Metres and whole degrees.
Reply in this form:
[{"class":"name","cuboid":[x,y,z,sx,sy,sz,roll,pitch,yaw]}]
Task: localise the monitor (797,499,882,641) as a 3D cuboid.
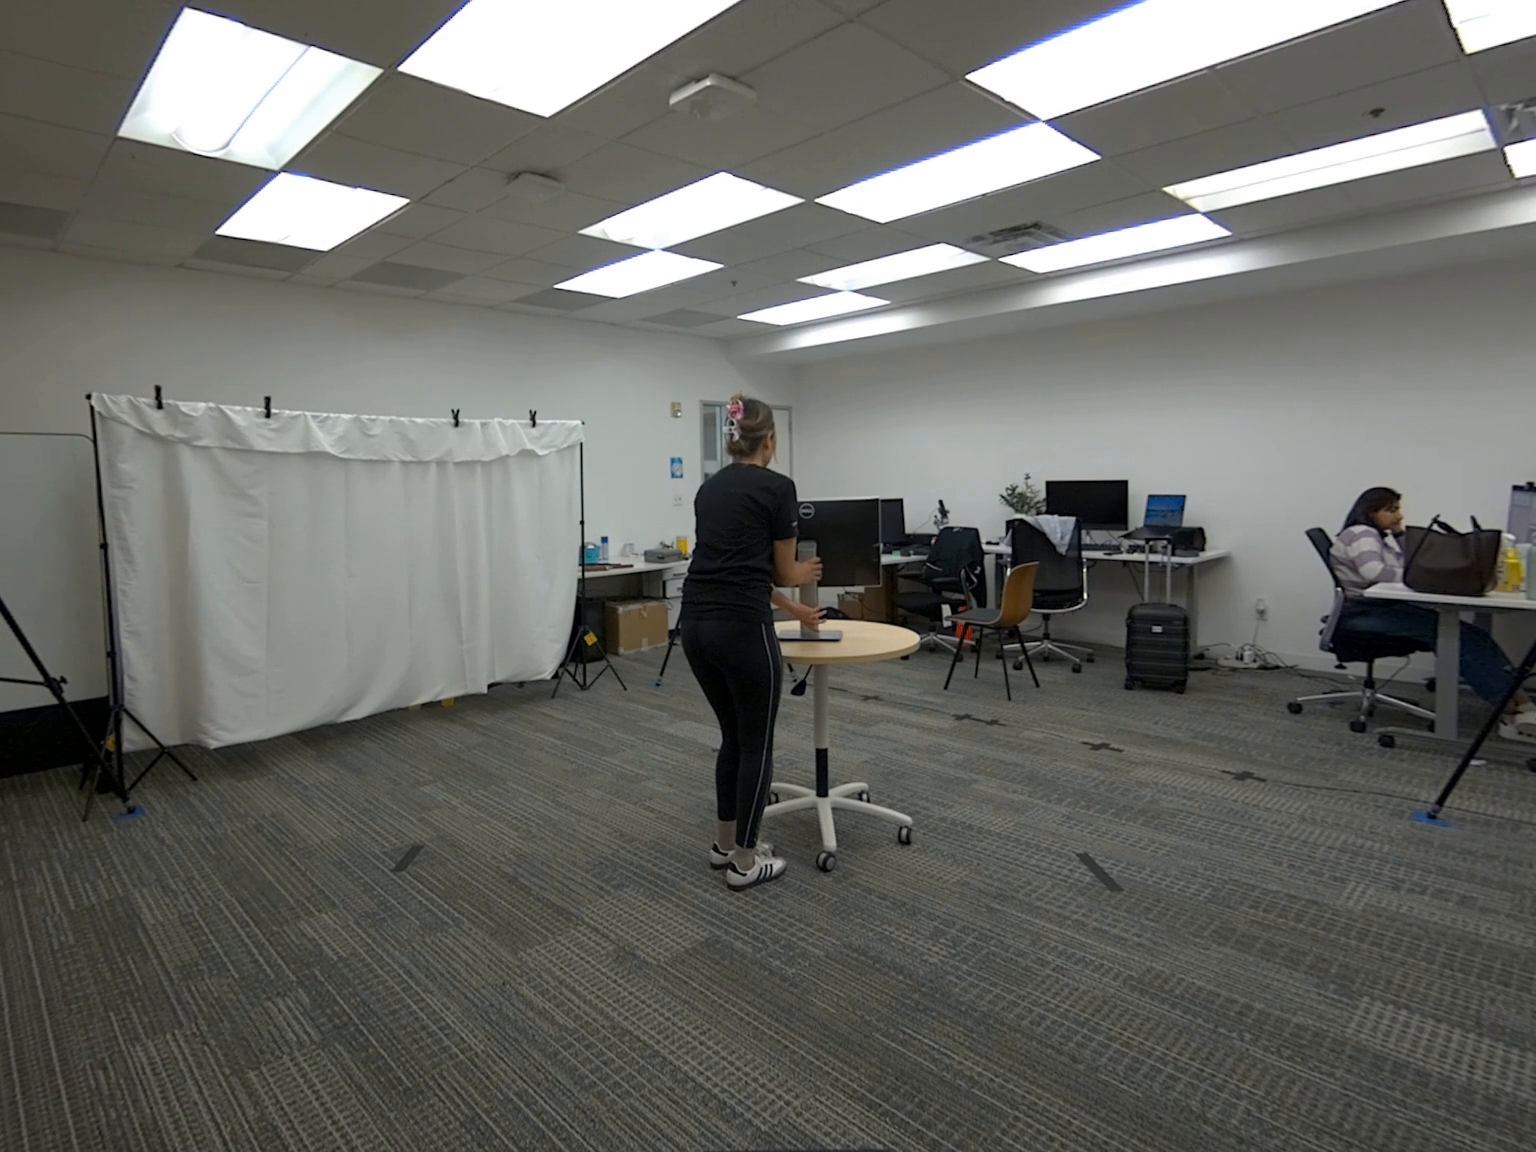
[{"class":"monitor","cuboid":[0.159,-0.024,3.331,0.543,0.521,0.186,-1,3,8]}]
